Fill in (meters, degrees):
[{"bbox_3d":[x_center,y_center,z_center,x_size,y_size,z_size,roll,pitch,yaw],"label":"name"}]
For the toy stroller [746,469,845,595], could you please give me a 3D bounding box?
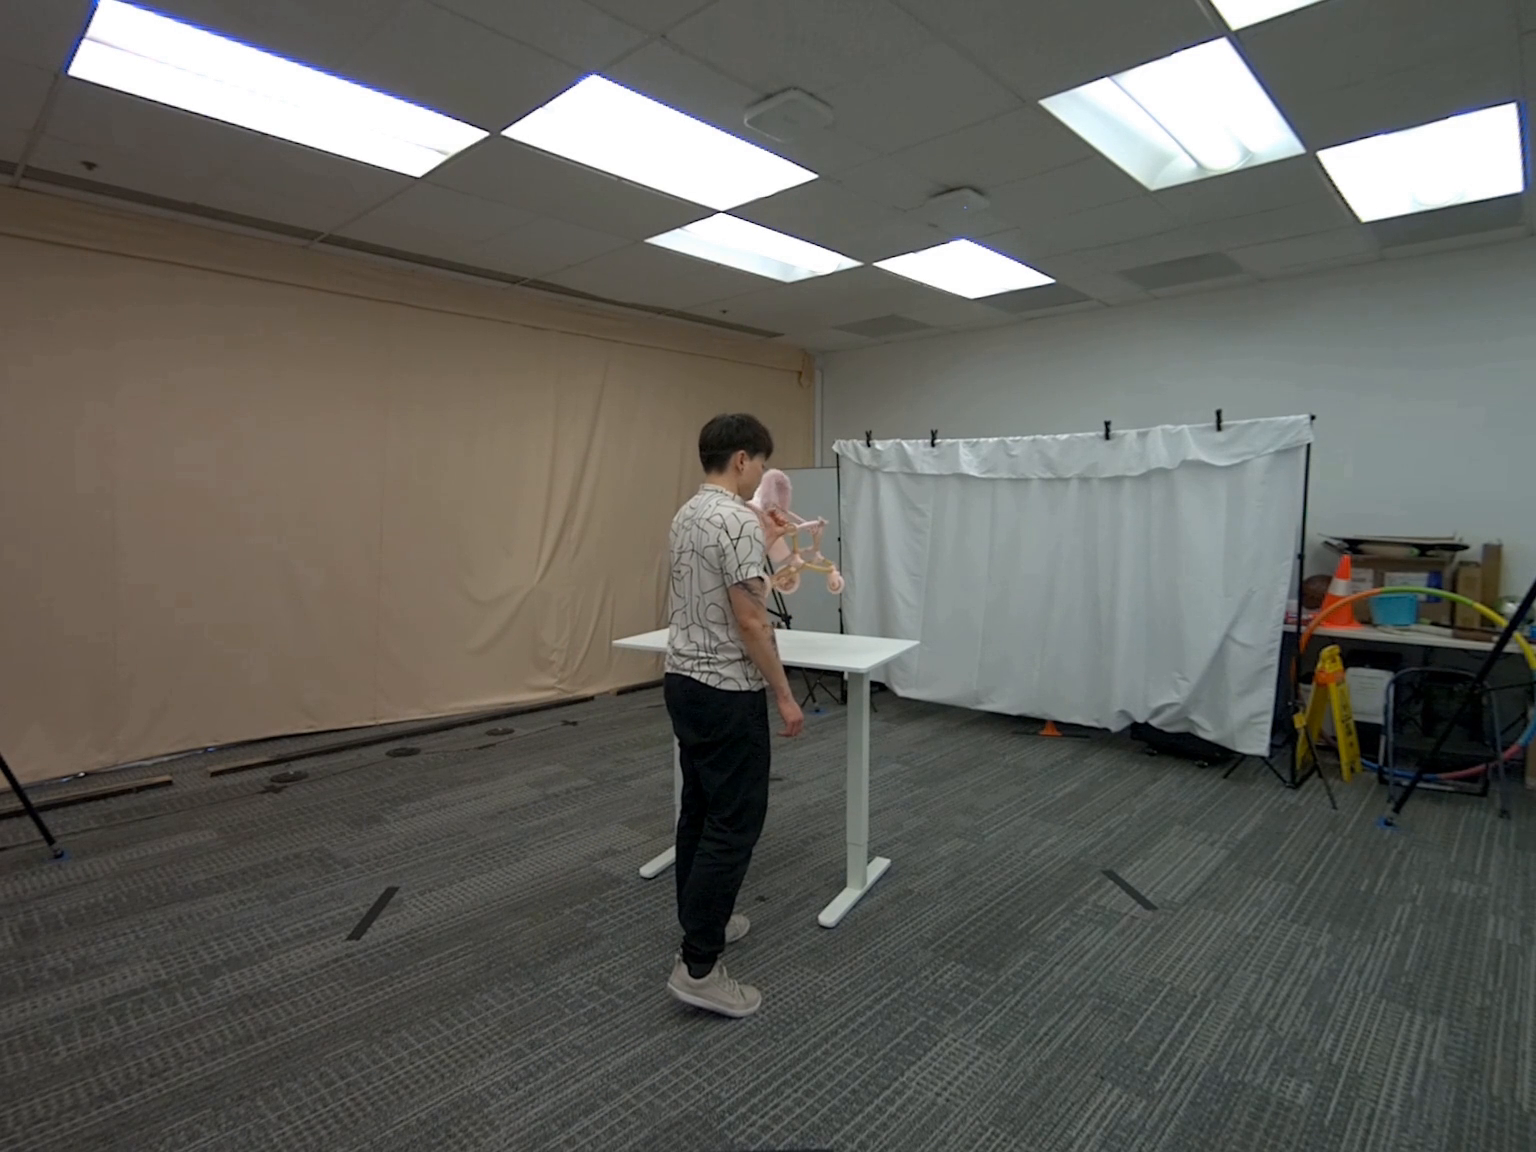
[{"bbox_3d":[0.067,-0.145,3.090,0.348,0.538,0.274,-21,-7,32],"label":"toy stroller"}]
